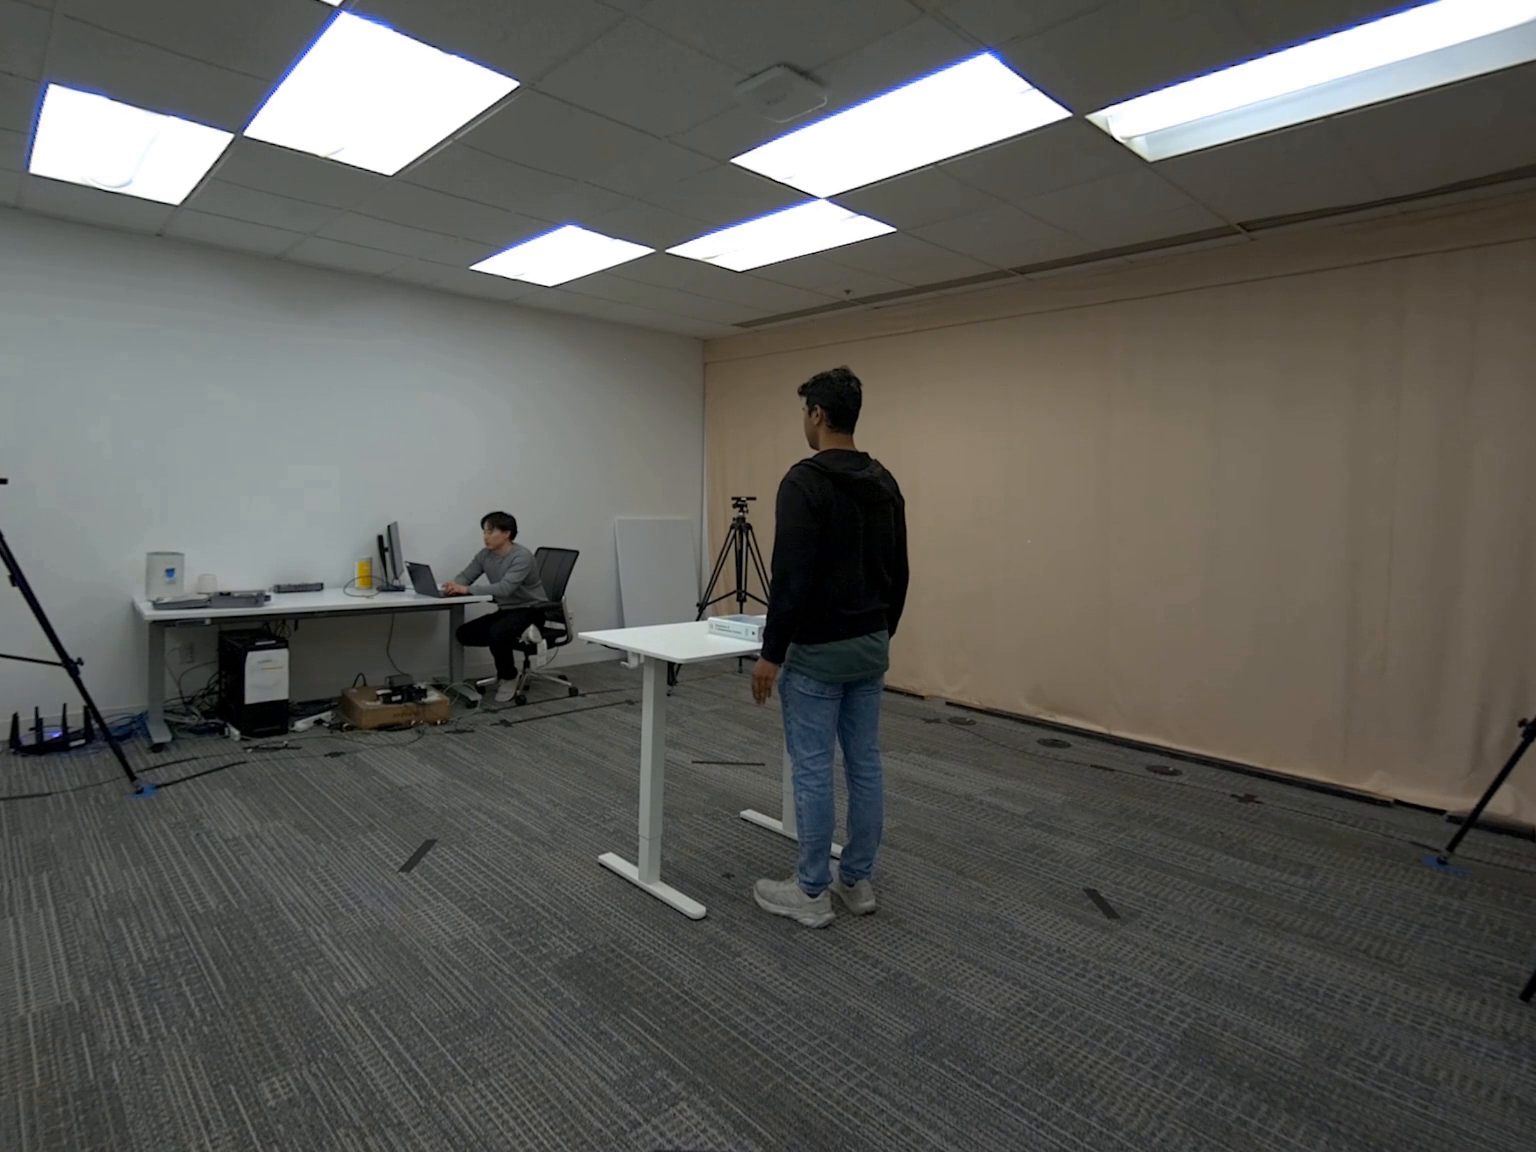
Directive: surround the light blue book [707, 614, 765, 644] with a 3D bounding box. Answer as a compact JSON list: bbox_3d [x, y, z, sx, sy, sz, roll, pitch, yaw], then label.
[{"bbox_3d":[-0.095,0.193,3.176,0.196,0.059,0.255,7,9,44],"label":"light blue book"}]
